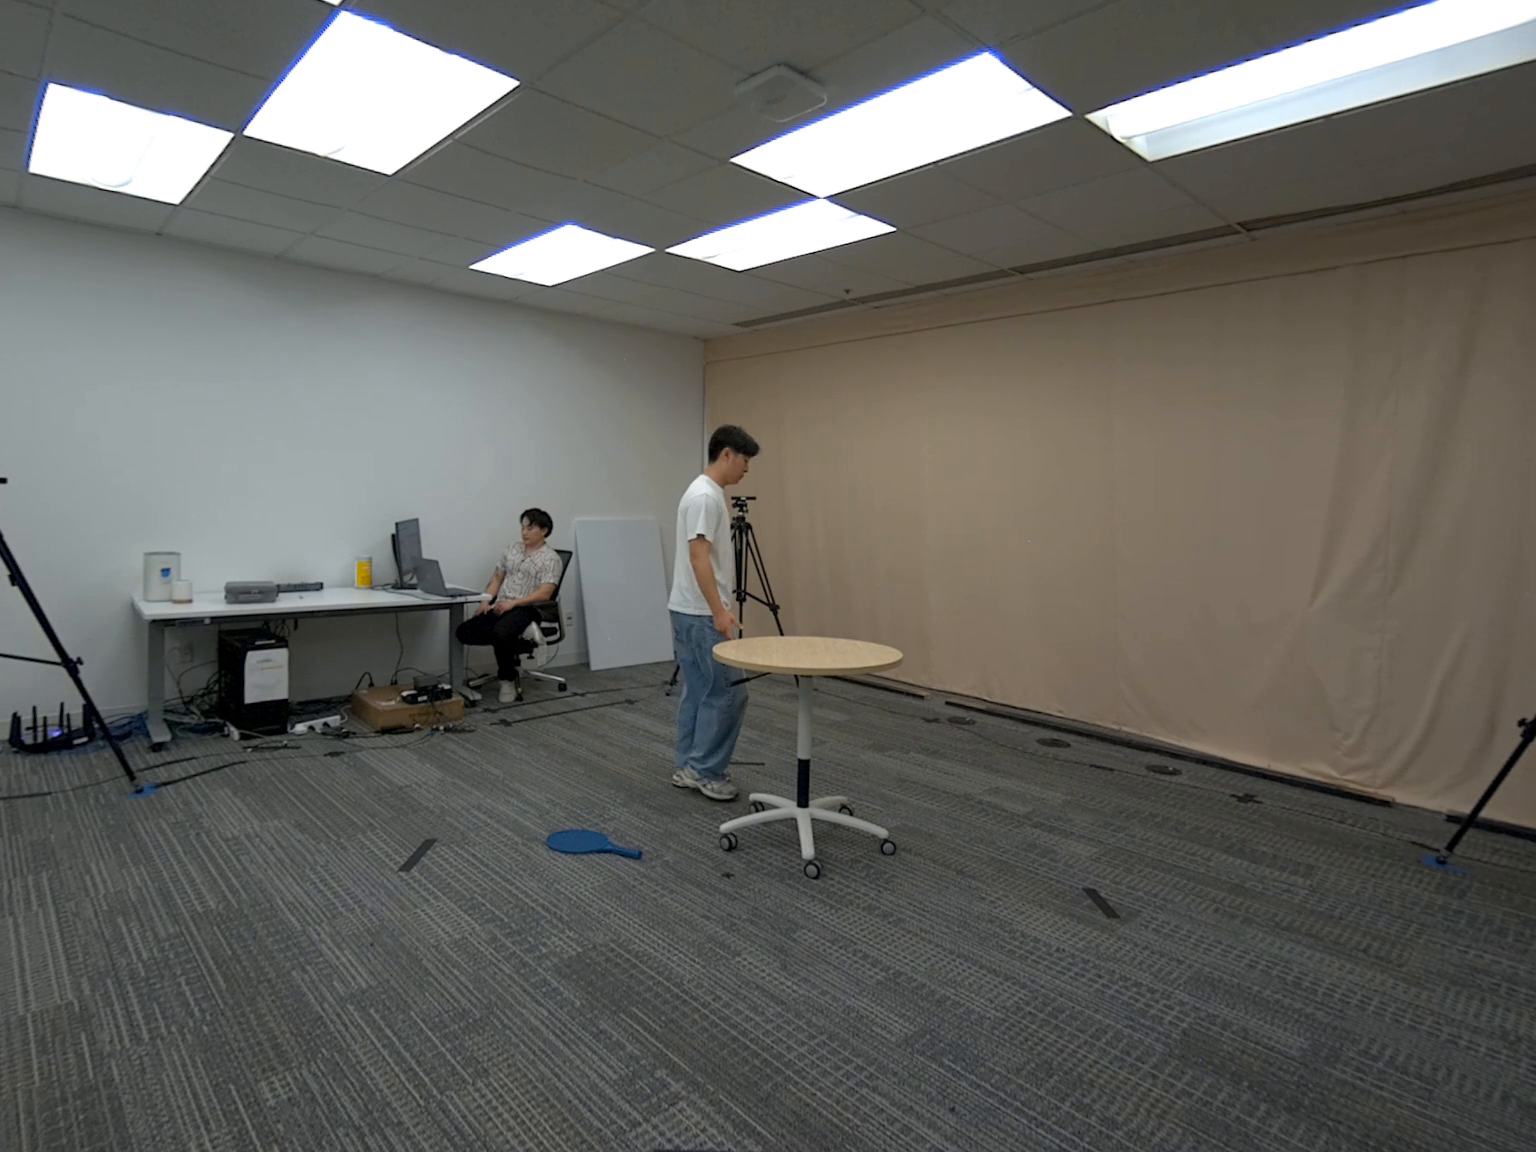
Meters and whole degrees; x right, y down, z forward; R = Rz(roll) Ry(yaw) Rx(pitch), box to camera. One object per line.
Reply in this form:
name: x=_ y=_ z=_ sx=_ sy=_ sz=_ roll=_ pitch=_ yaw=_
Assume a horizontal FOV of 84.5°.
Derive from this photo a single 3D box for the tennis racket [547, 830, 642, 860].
tennis racket: x=-0.691 y=1.059 z=3.320 sx=0.442 sy=0.031 sz=0.210 roll=2 pitch=6 yaw=29
